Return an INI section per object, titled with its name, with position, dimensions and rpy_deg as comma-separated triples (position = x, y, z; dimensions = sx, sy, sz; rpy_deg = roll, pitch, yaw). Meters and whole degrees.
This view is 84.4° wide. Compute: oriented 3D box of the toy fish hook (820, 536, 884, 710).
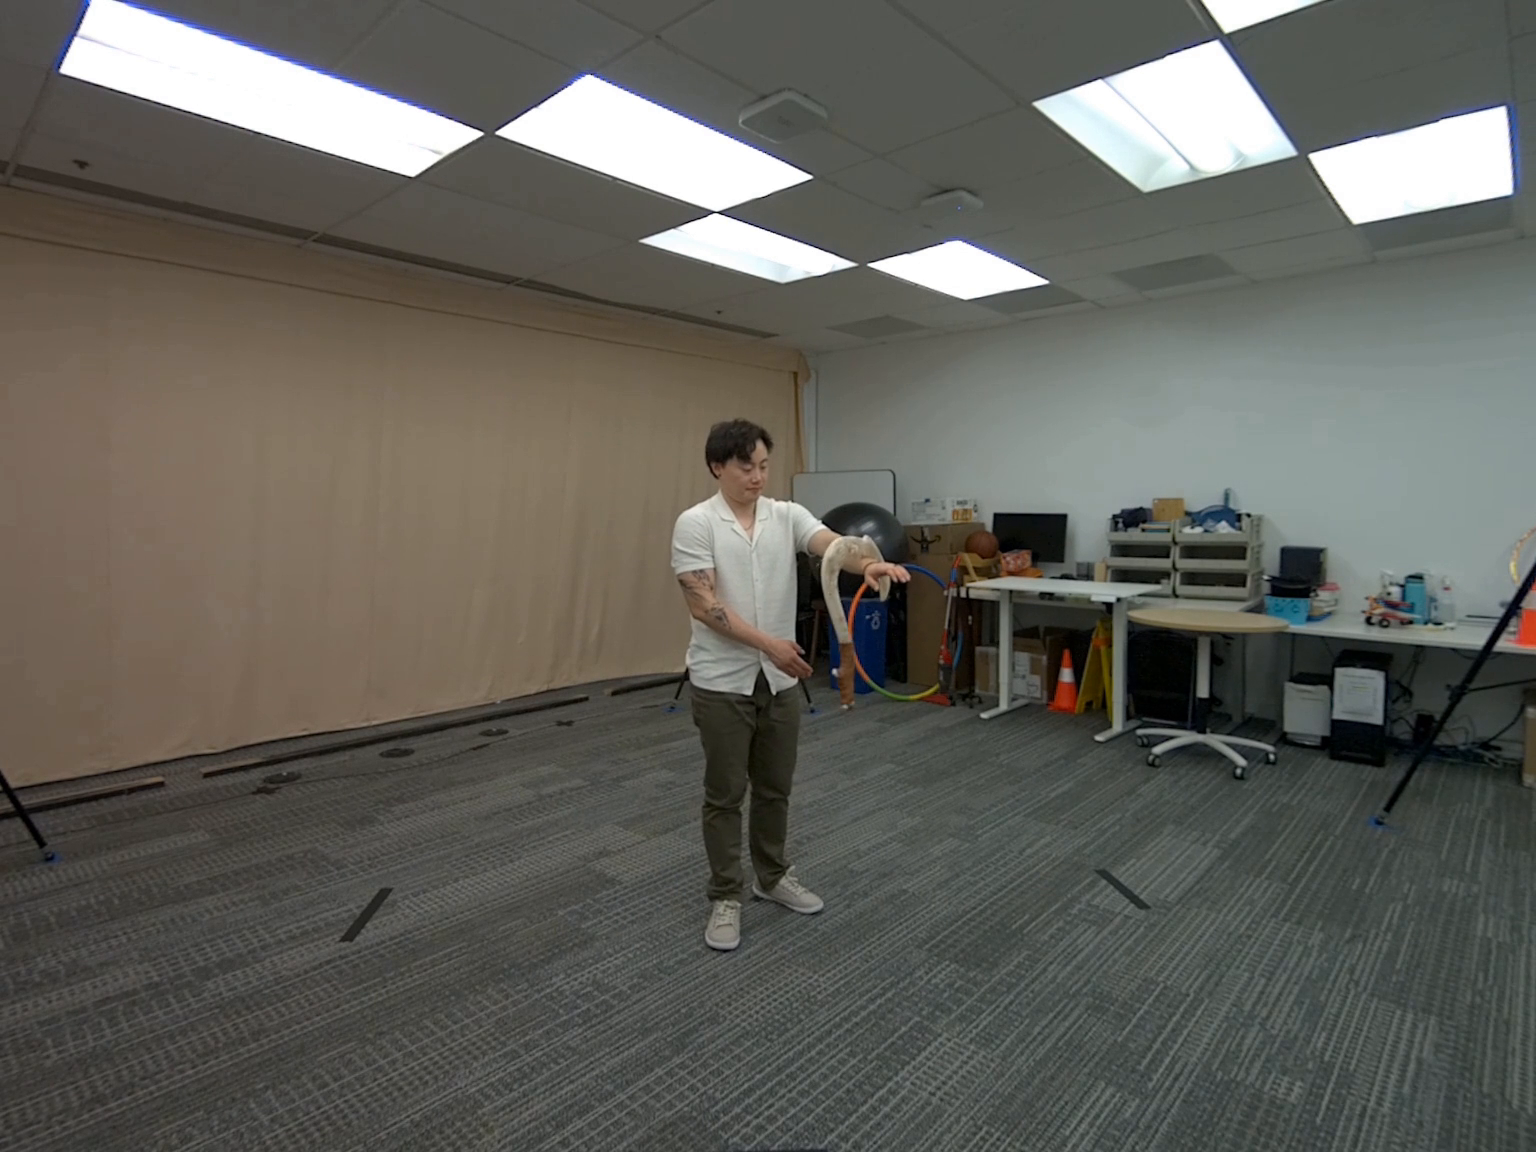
[toy fish hook]
position = 0.281, 0.138, 2.484
dimensions = 0.221, 0.507, 0.049
rpy_deg = -3, 0, -16
